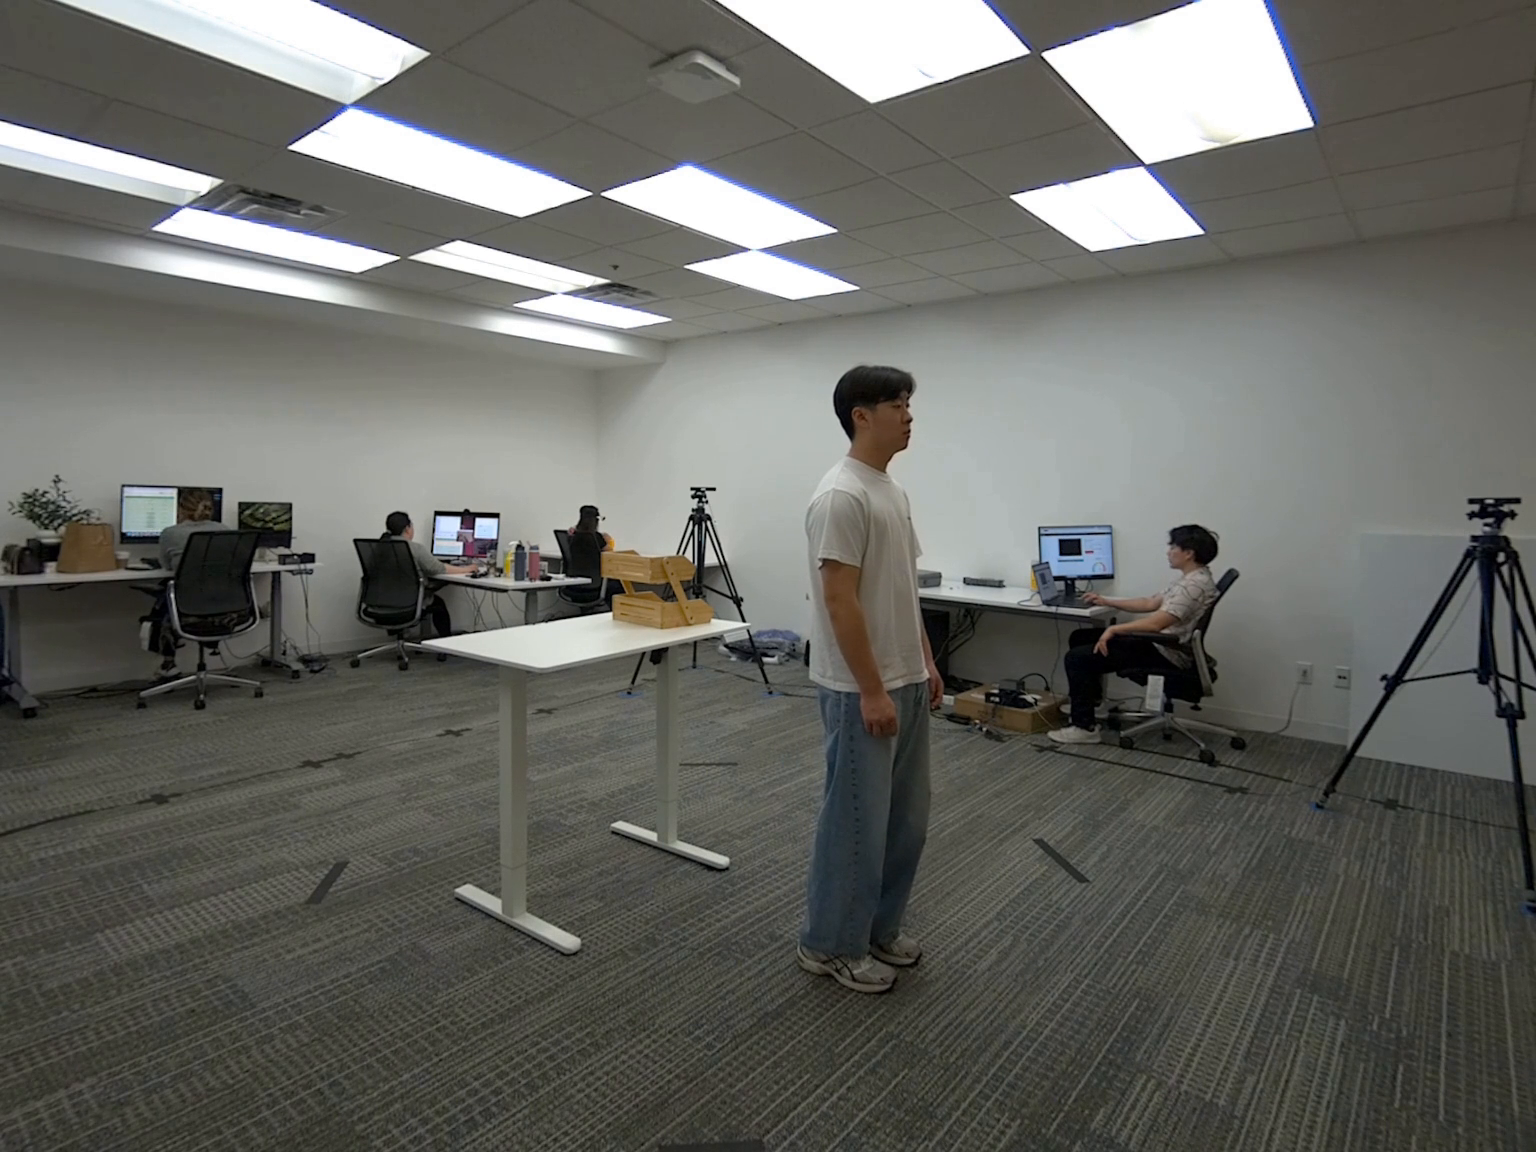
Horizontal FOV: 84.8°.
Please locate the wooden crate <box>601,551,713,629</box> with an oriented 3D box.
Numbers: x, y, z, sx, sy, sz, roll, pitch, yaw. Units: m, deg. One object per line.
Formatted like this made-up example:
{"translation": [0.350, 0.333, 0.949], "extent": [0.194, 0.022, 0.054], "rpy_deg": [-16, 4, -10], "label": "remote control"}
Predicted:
{"translation": [-0.423, 0.036, 3.183], "extent": [0.335, 0.272, 0.293], "rpy_deg": [5, 7, 45], "label": "wooden crate"}
